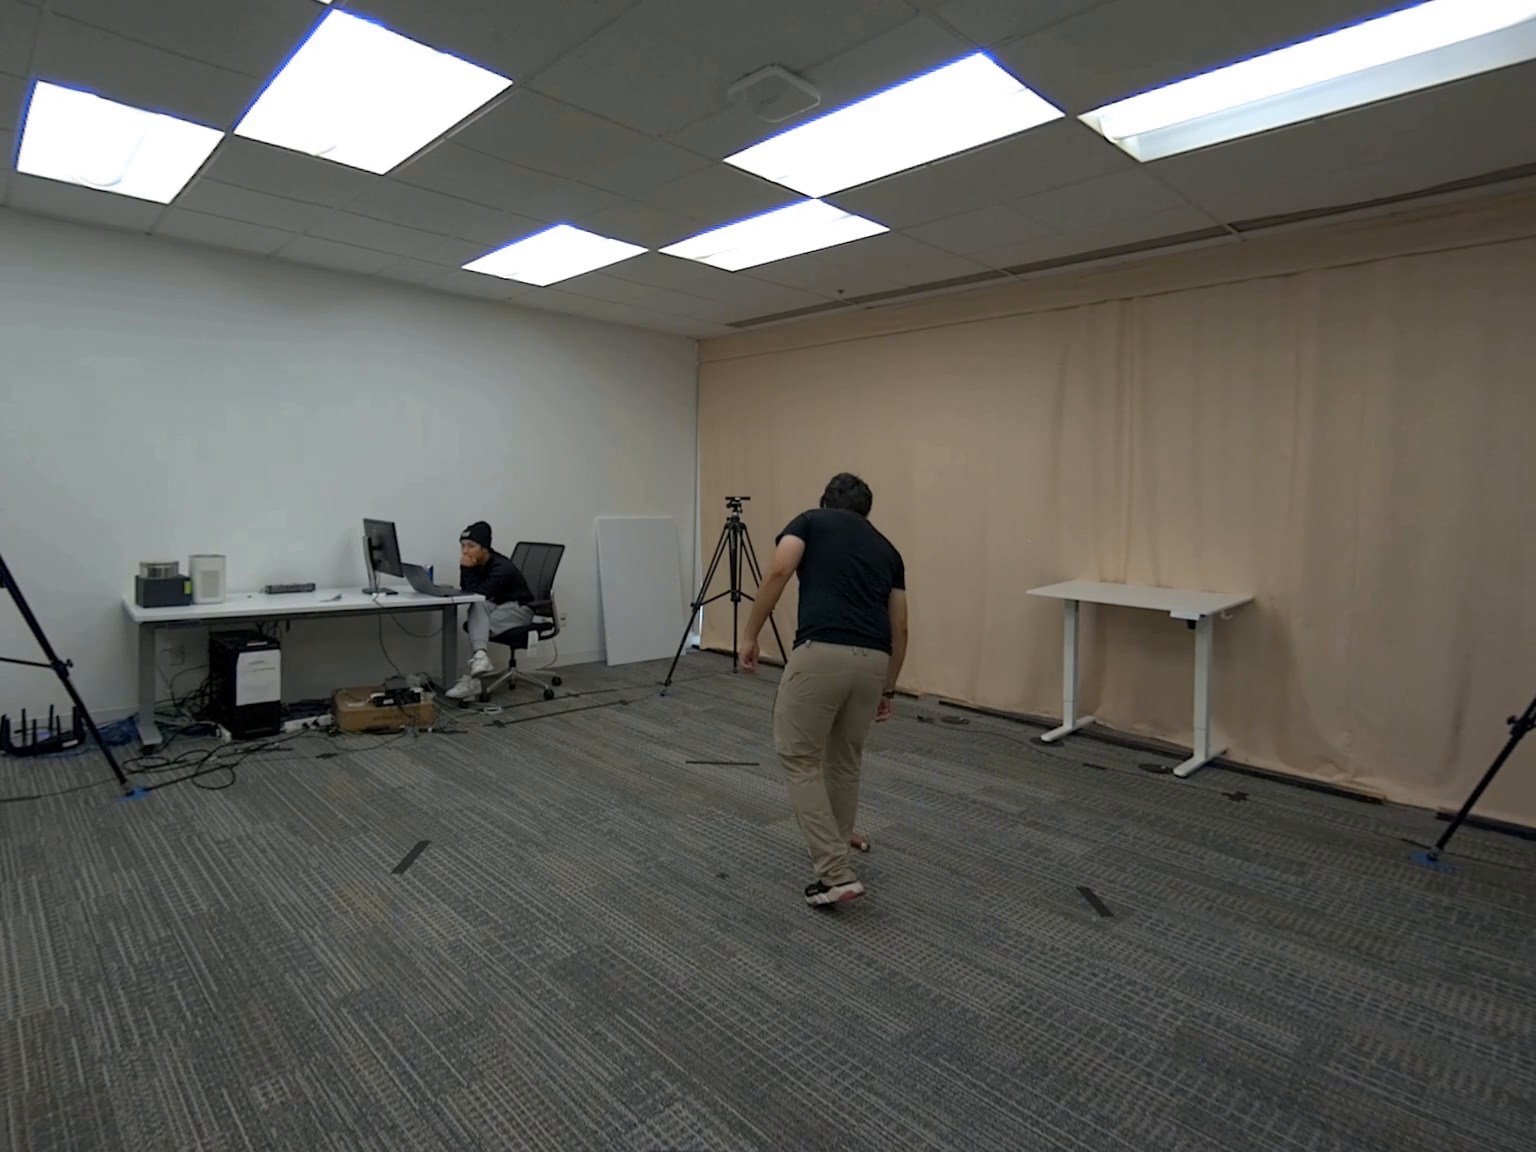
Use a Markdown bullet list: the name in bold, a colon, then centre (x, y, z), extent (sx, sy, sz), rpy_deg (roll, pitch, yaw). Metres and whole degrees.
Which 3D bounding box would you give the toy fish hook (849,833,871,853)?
- **toy fish hook**: centre (0.307, 1.059, 3.580), extent (0.220, 0.048, 0.518), rpy_deg (-2, 6, -28)
